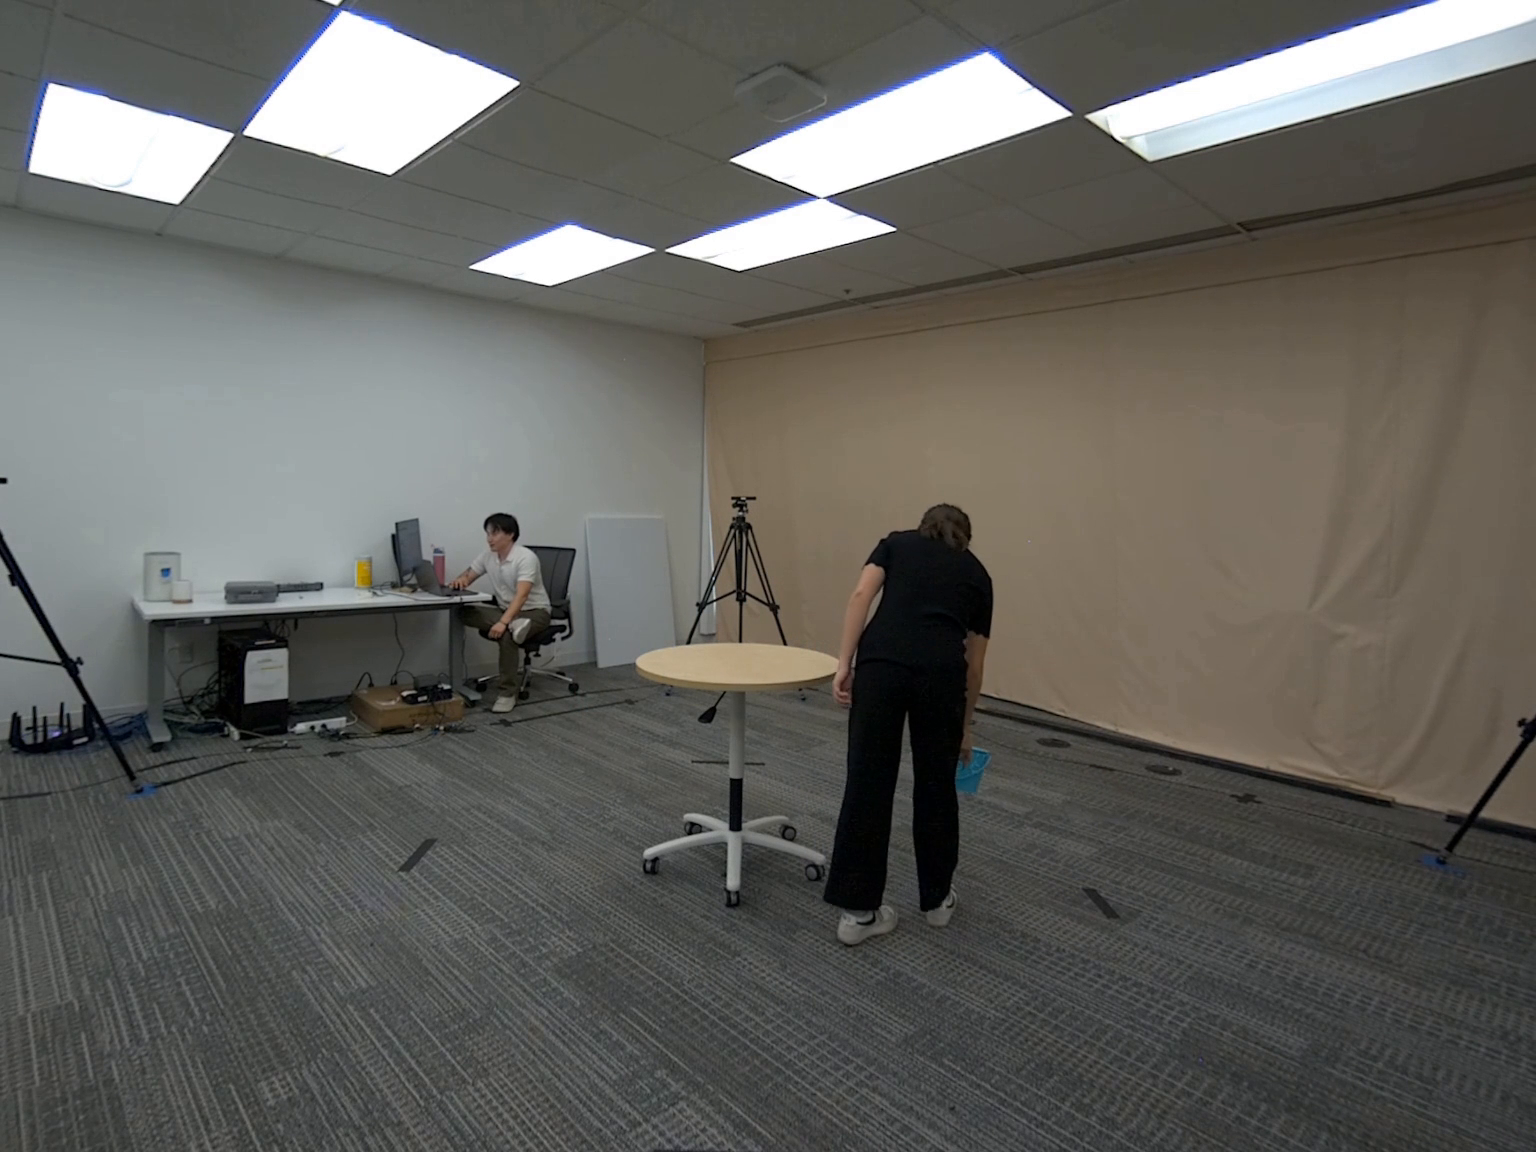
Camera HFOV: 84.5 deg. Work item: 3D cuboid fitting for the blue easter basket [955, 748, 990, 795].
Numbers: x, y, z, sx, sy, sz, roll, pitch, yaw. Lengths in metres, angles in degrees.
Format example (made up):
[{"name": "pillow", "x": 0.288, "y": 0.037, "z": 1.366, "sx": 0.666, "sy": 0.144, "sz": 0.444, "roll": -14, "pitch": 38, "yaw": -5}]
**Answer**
[{"name": "blue easter basket", "x": 0.669, "y": 0.686, "z": 3.038, "sx": 0.243, "sy": 0.156, "sz": 0.243, "roll": 10, "pitch": -4, "yaw": -1}]
